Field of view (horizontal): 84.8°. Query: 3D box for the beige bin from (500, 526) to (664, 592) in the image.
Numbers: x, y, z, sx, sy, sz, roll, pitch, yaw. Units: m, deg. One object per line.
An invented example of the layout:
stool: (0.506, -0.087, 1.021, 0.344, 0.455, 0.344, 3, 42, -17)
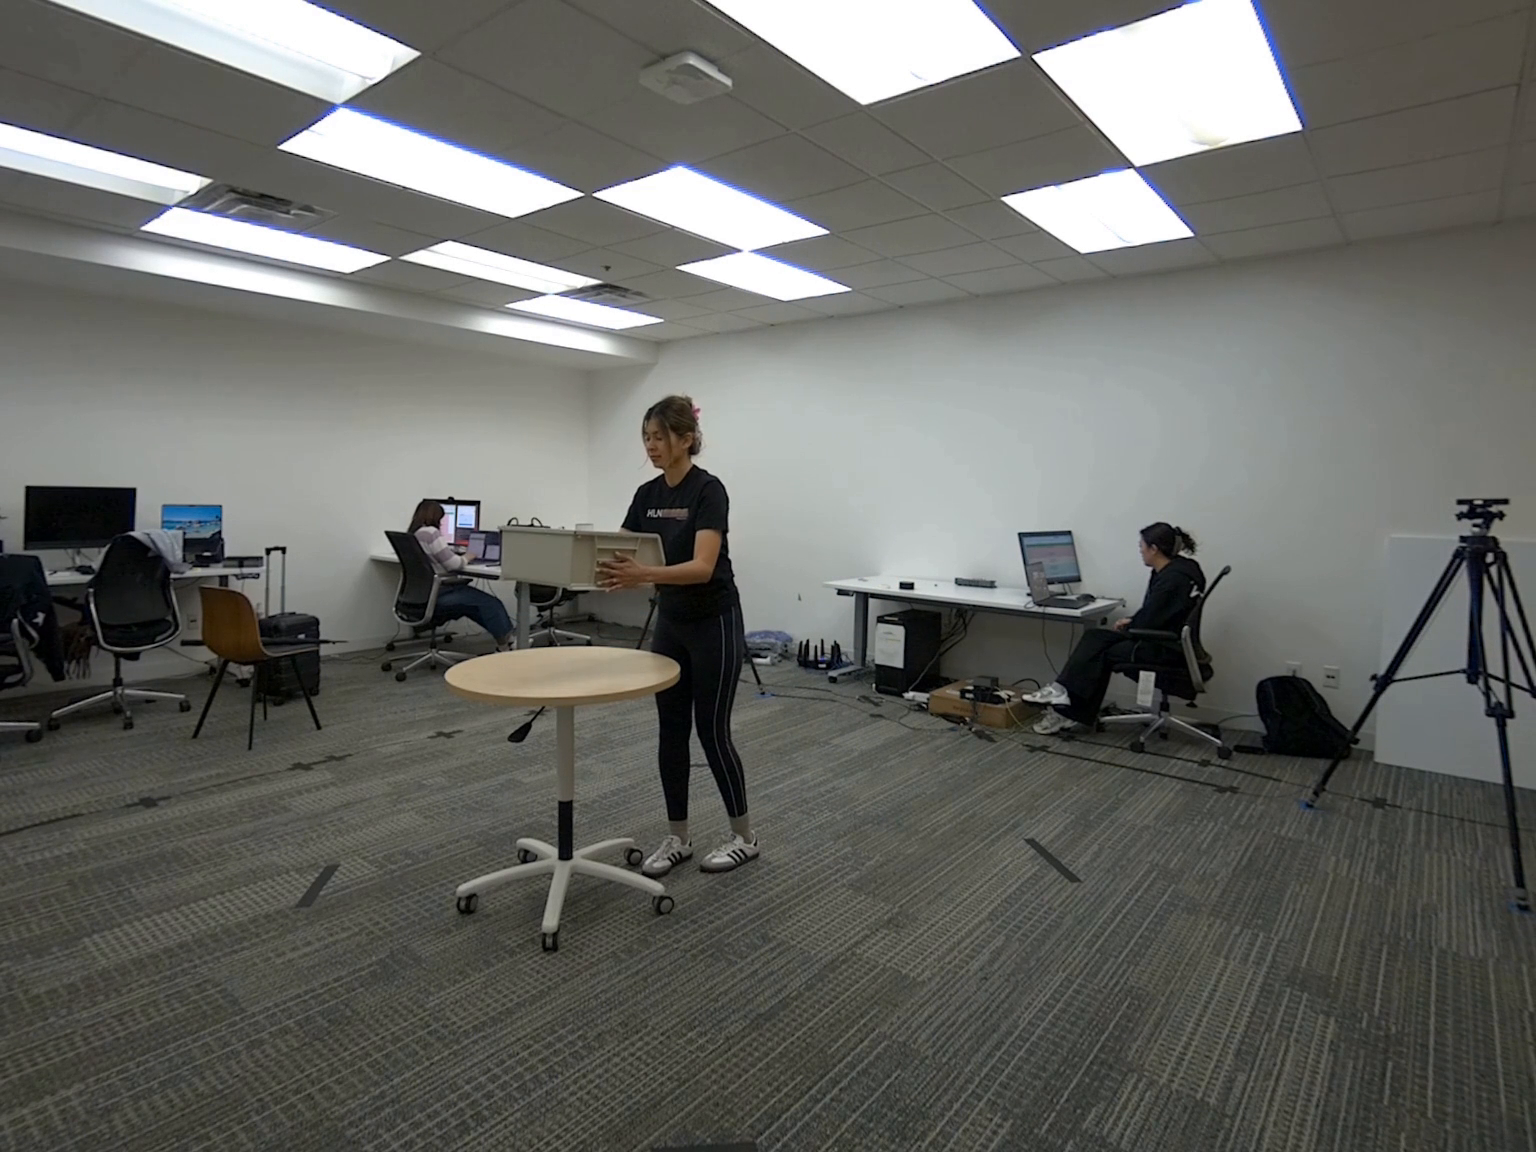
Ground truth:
beige bin: (-0.633, -0.058, 2.776, 0.437, 0.188, 0.365, 7, 5, 42)
